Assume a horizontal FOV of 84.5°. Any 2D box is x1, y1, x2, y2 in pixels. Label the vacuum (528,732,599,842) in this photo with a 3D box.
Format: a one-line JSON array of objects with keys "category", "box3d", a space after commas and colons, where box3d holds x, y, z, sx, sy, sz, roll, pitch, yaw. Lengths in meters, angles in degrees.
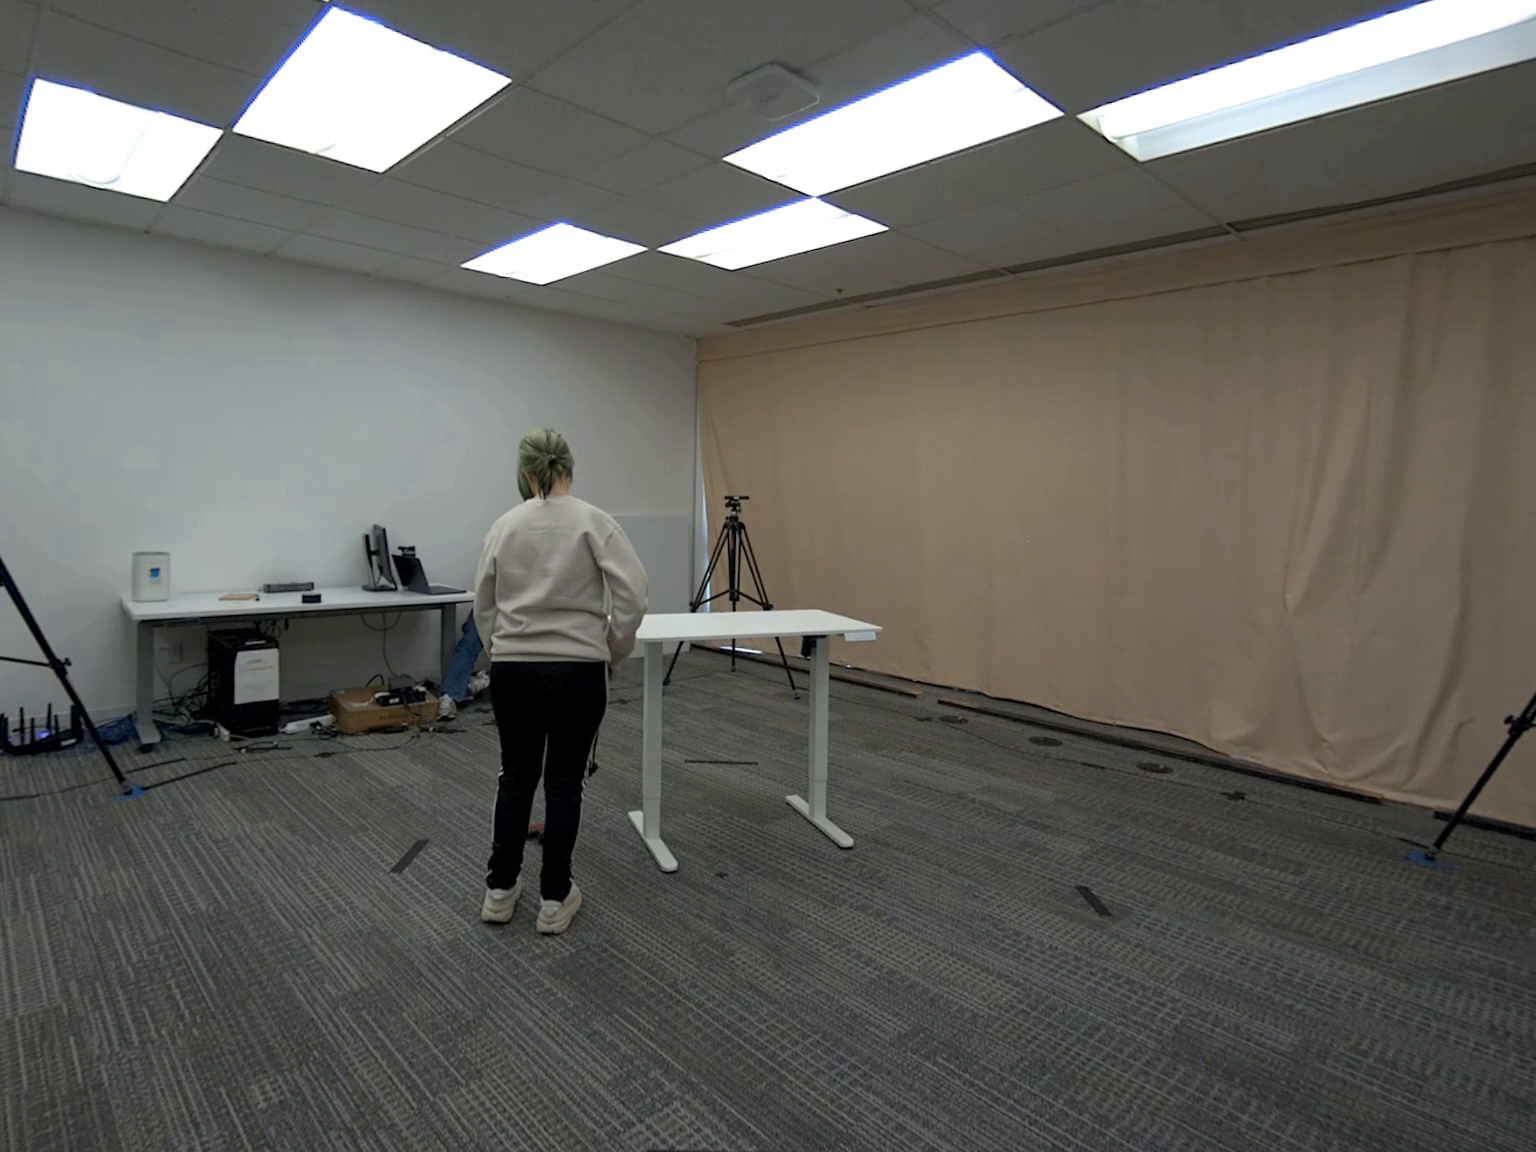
[{"category": "vacuum", "box3d": [-0.725, 0.700, 3.099, 0.248, 1.039, 0.148, -8, 52, -33]}]
